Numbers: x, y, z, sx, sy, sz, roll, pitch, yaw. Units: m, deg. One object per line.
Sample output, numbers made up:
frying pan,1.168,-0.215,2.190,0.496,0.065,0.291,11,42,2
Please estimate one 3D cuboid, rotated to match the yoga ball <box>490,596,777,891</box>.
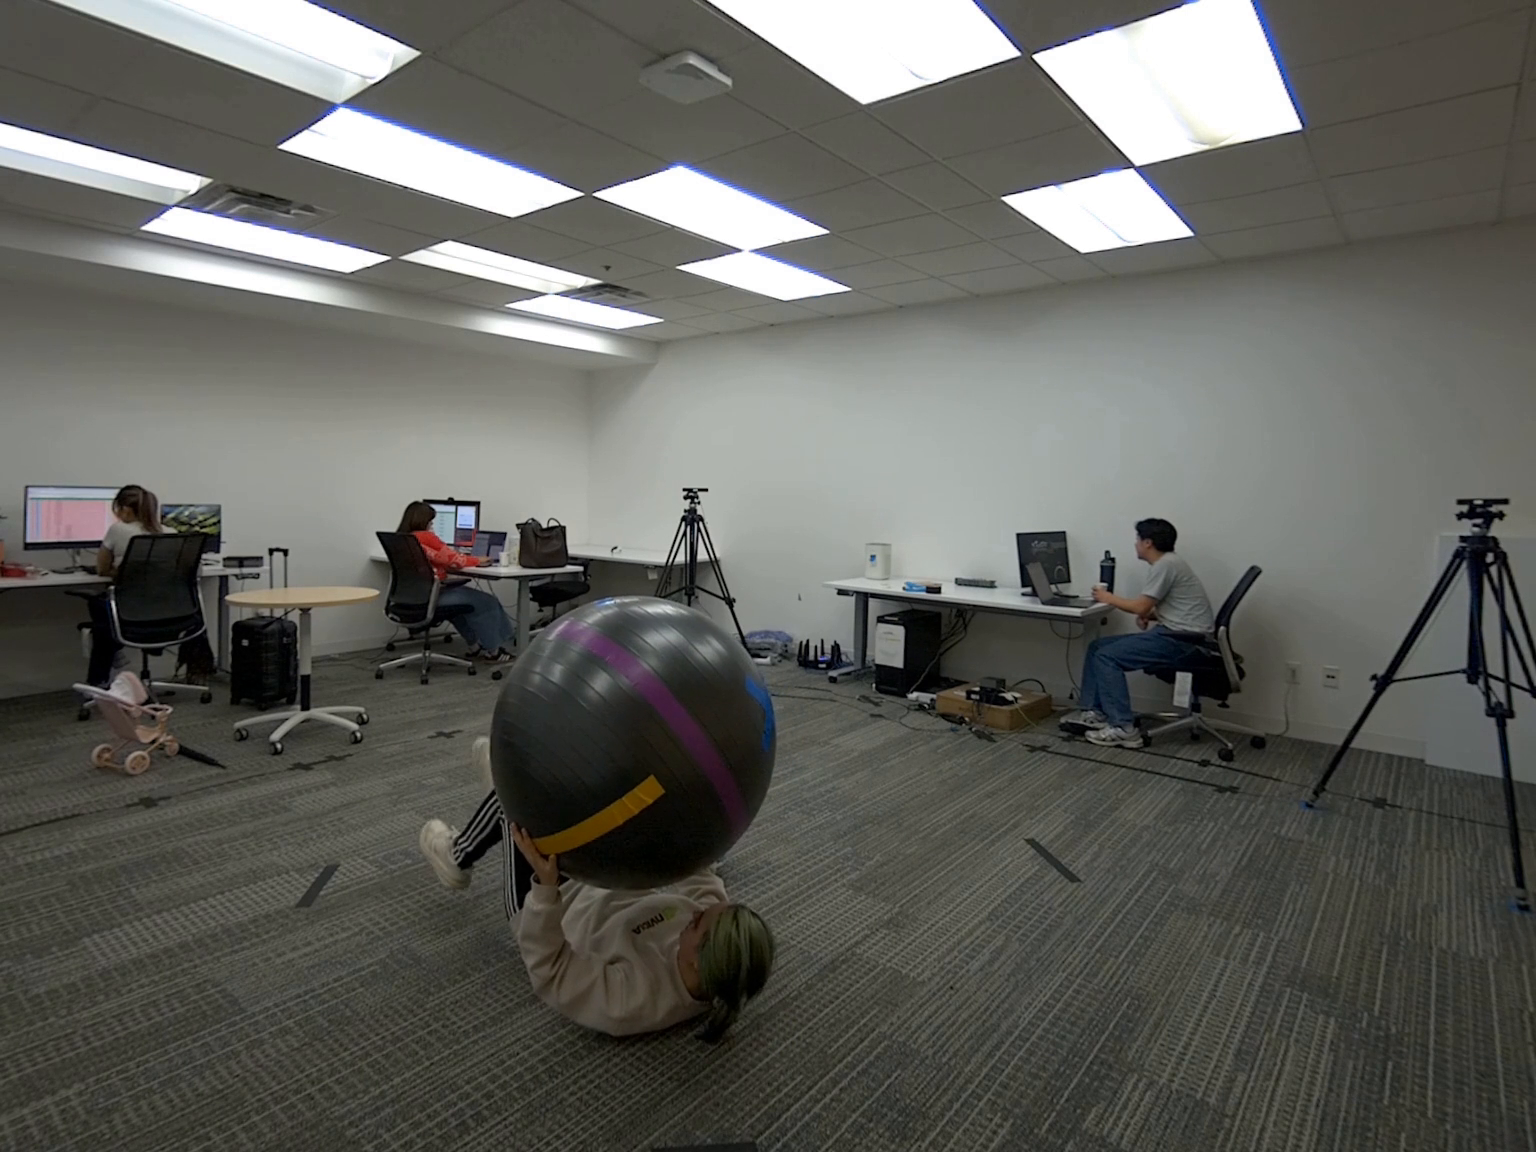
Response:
yoga ball,-0.363,0.435,2.273,0.757,0.755,0.762,1,4,-2
